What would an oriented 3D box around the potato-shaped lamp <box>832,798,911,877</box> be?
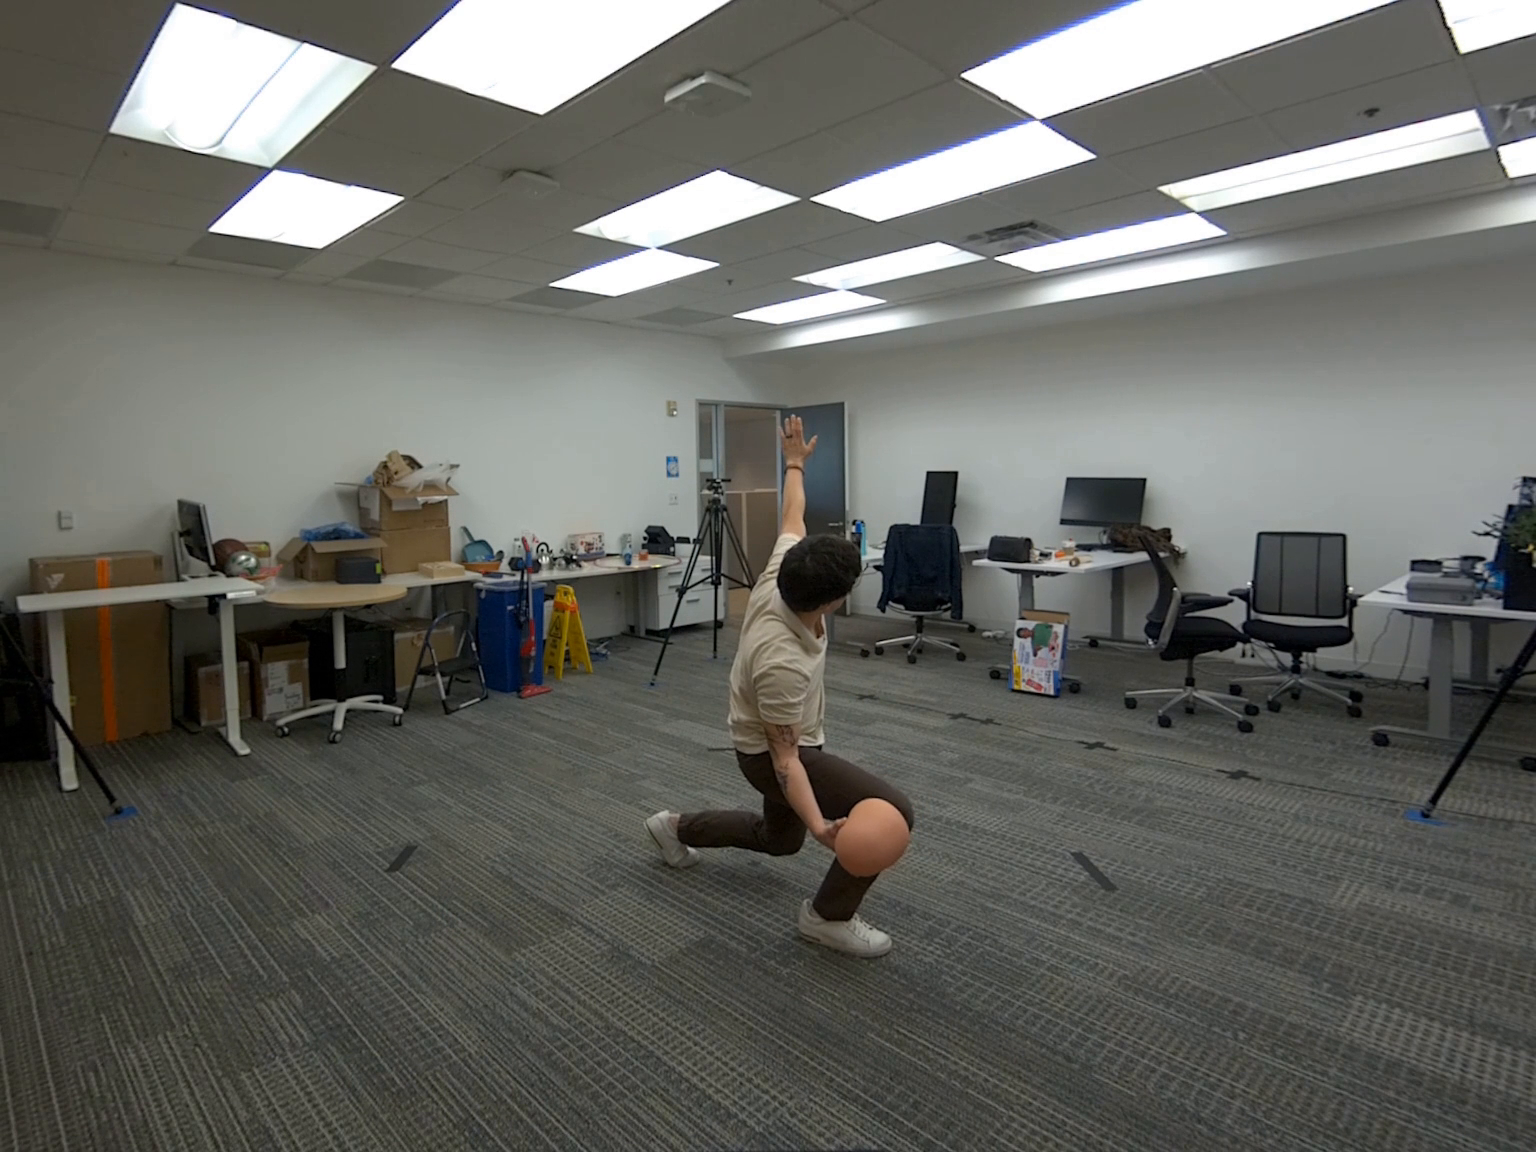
[{"bbox_3d":[0.265,0.676,2.181,0.196,0.165,0.172,-33,-3,-37],"label":"potato-shaped lamp"}]
